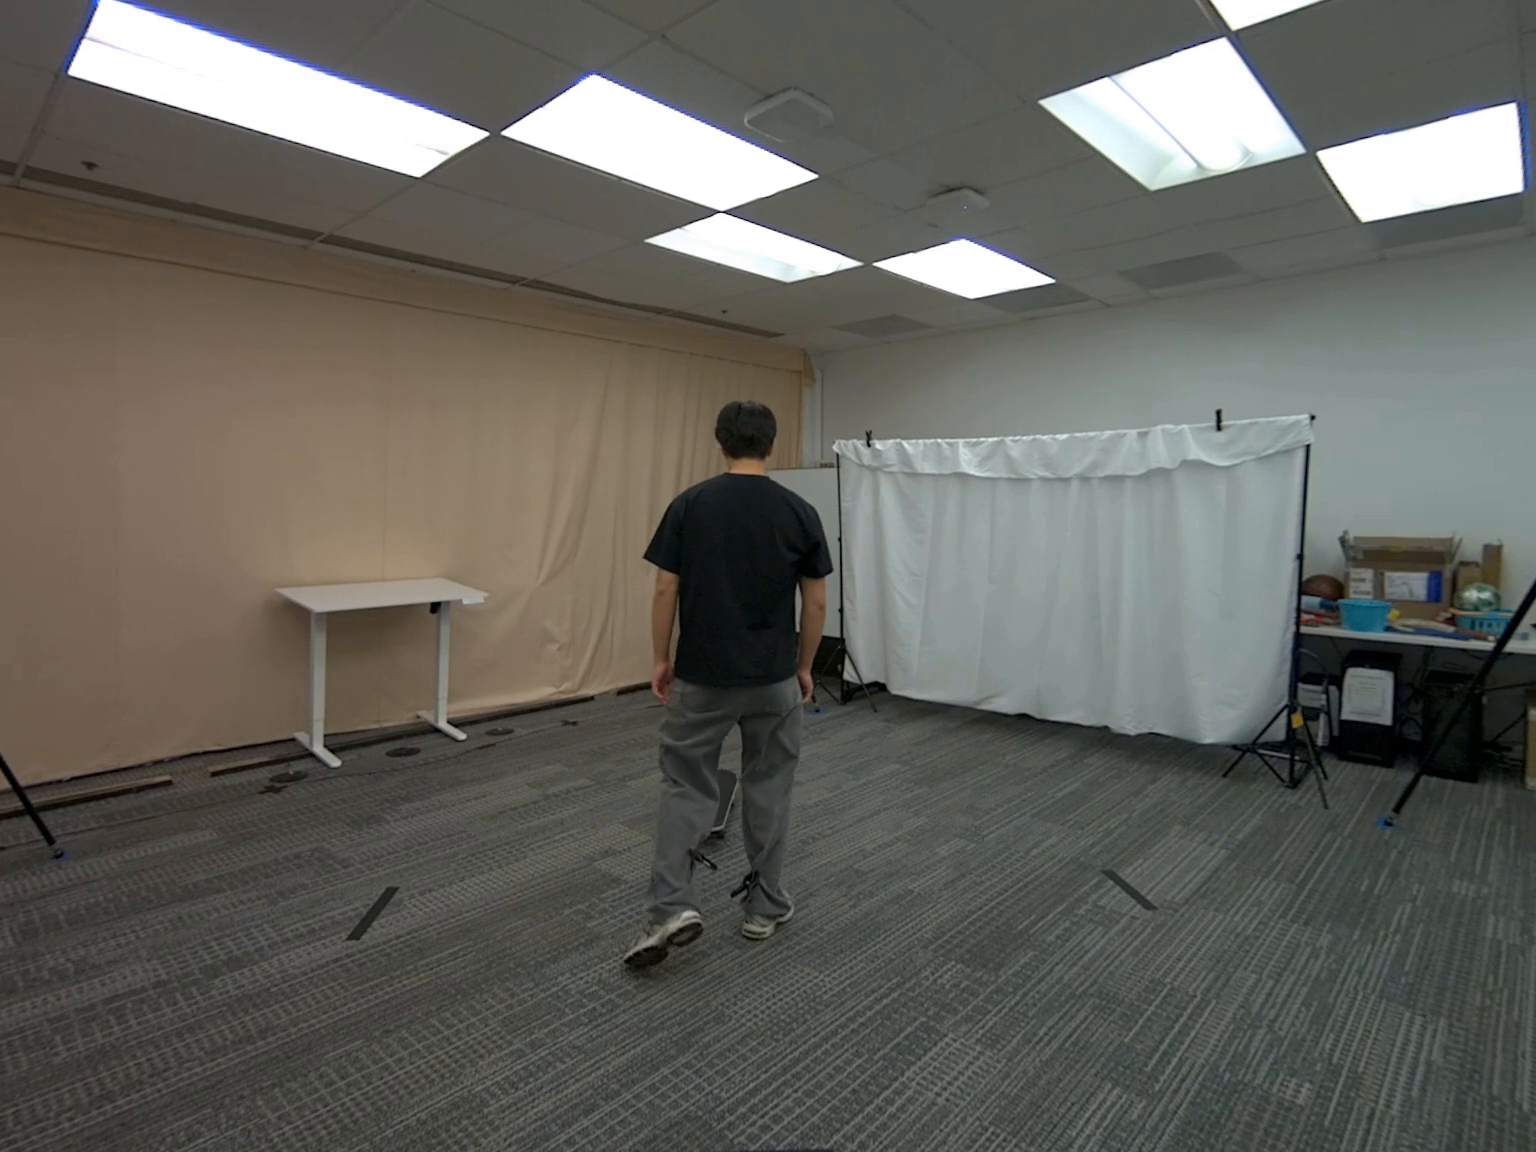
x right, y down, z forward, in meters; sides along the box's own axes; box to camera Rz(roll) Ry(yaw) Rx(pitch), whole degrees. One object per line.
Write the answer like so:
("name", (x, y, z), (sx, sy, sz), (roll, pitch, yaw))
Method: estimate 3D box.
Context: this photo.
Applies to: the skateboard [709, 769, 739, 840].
("skateboard", (-0.258, 1.030, 3.740), (0.195, 0.110, 0.782), (-1, 4, 4))
